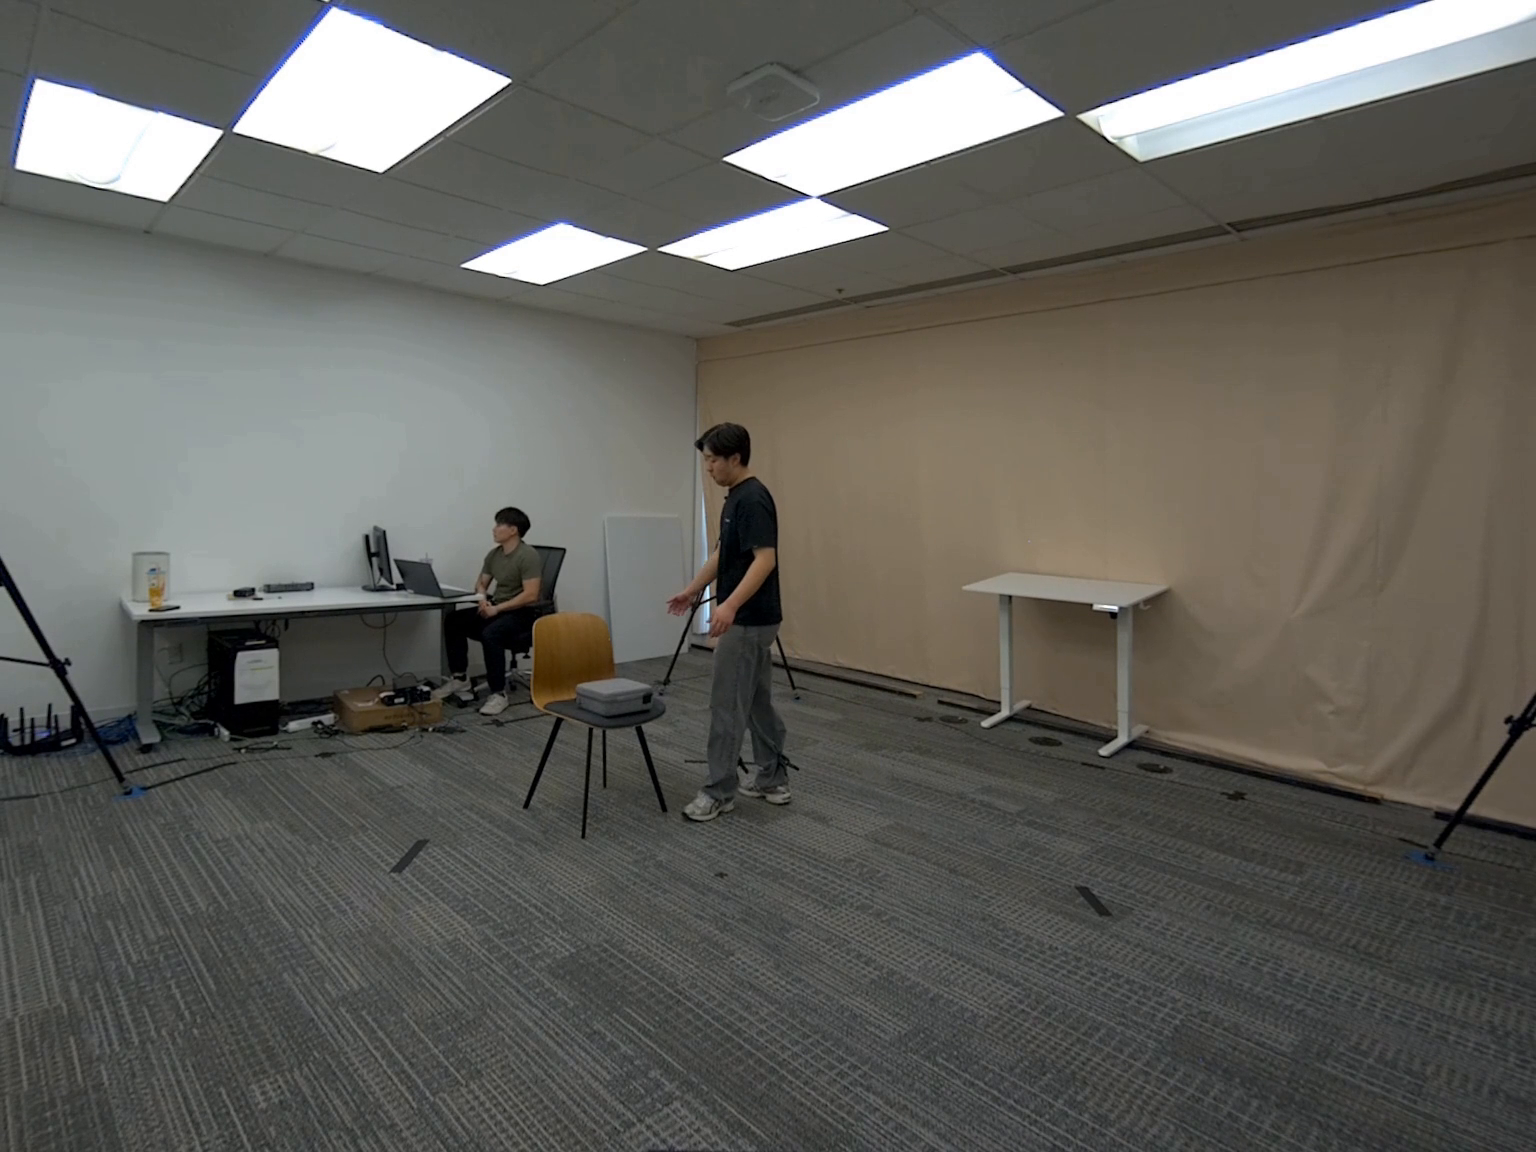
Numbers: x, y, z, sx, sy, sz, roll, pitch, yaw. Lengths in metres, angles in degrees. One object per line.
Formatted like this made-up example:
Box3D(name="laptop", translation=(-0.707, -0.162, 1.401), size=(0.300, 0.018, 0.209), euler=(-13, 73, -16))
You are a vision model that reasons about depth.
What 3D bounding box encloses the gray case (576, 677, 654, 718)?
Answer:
Box3D(name="gray case", translation=(-0.669, 0.511, 3.596), size=(0.257, 0.103, 0.294), euler=(-3, 5, -43))
